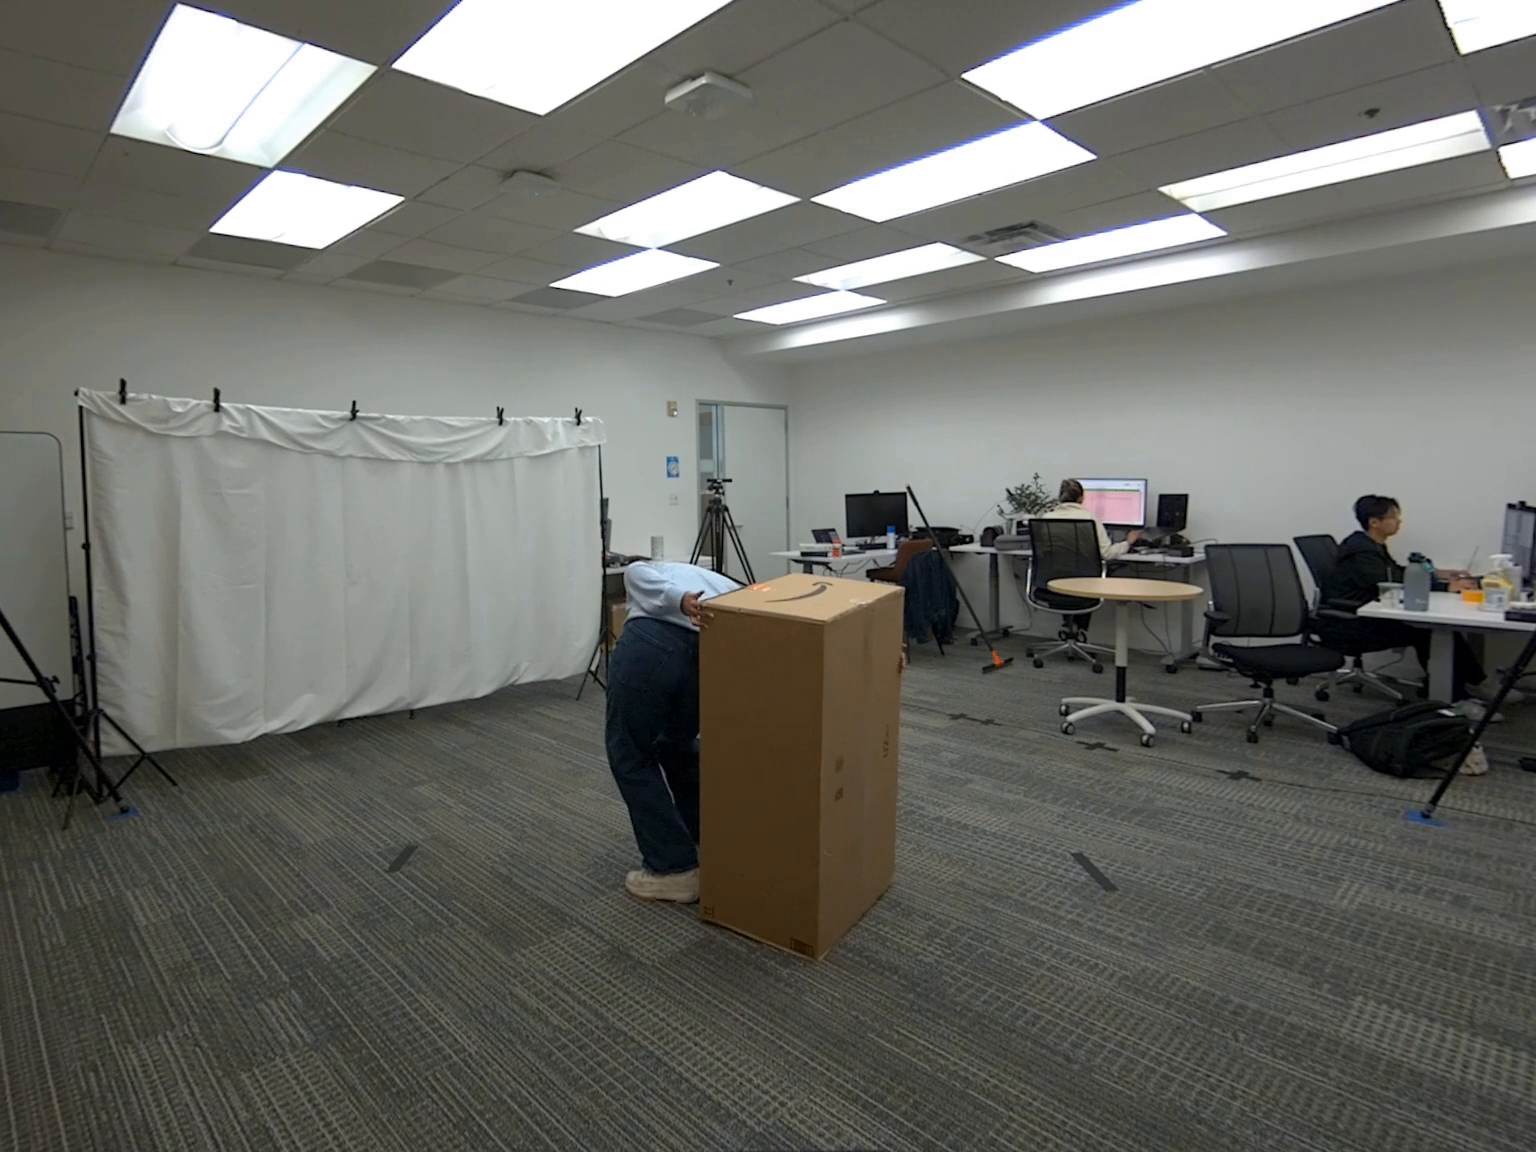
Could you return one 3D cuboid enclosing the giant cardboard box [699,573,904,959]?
[{"bbox_3d":[0.114,0.559,2.744,0.438,1.018,0.565,6,10,32],"label":"giant cardboard box"}]
